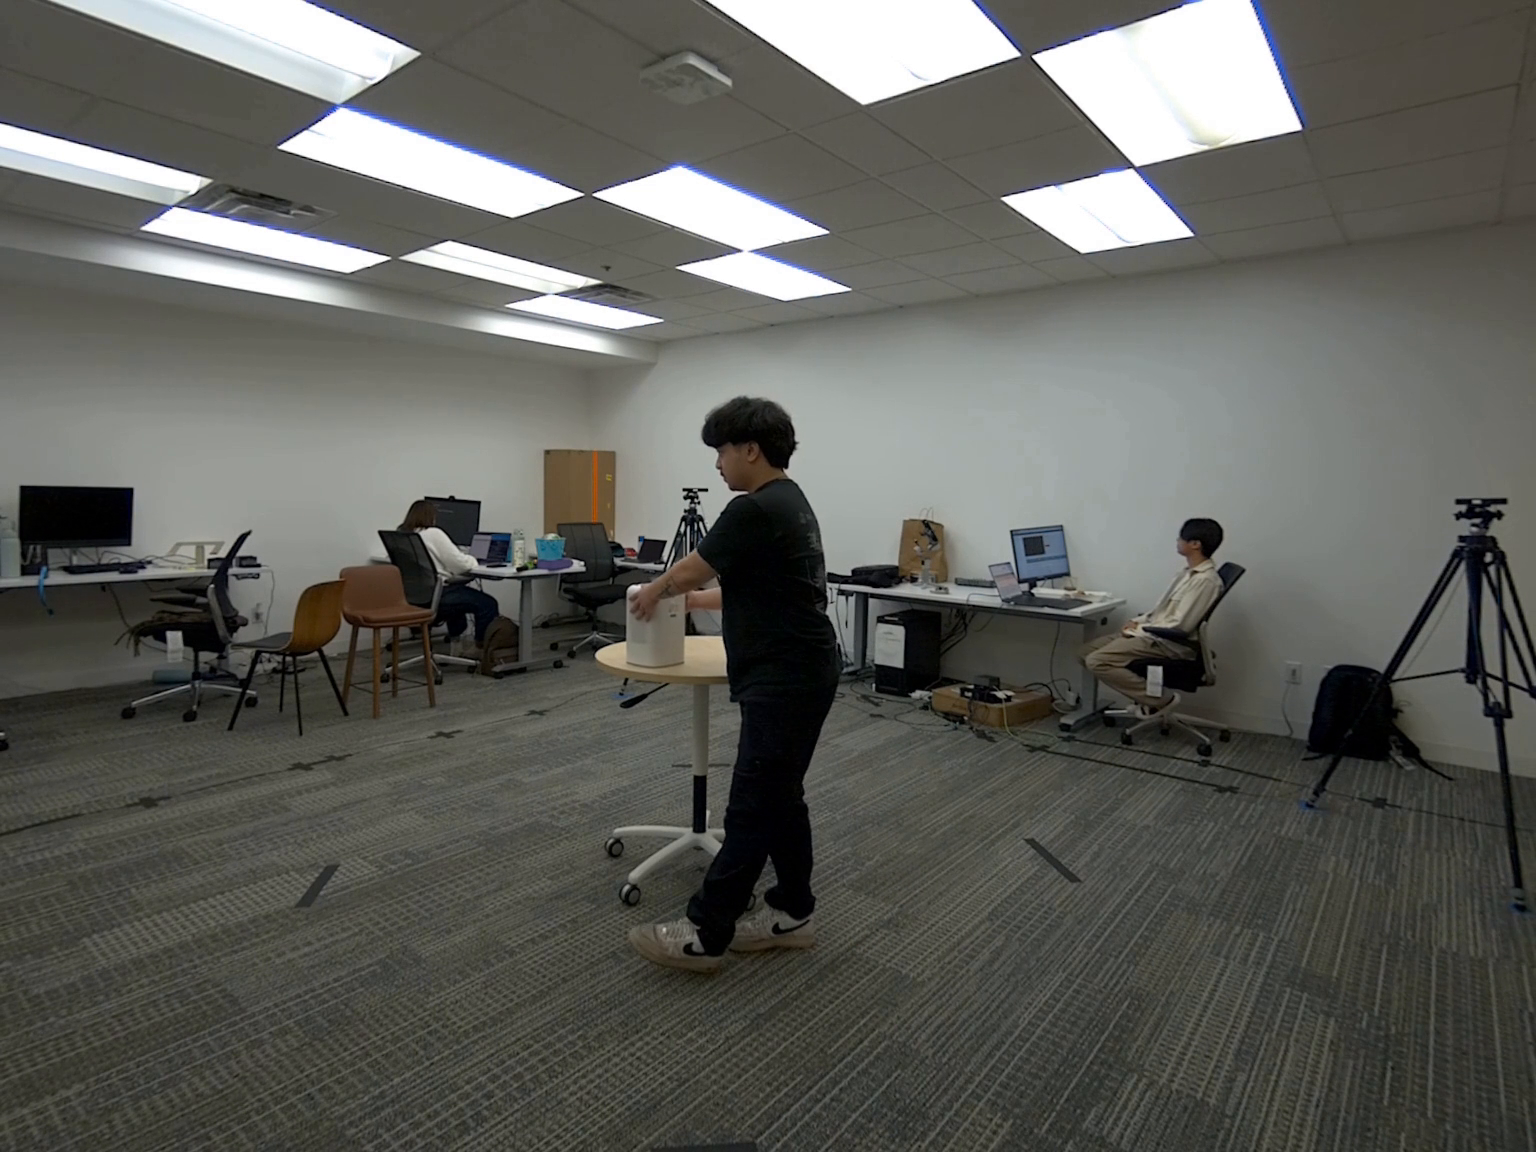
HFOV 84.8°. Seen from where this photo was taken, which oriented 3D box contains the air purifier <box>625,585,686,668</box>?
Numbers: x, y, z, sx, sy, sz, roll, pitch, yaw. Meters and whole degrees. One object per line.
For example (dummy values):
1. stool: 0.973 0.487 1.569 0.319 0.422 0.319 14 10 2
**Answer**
1. air purifier: -0.392 0.162 2.908 0.177 0.264 0.166 3 5 43
